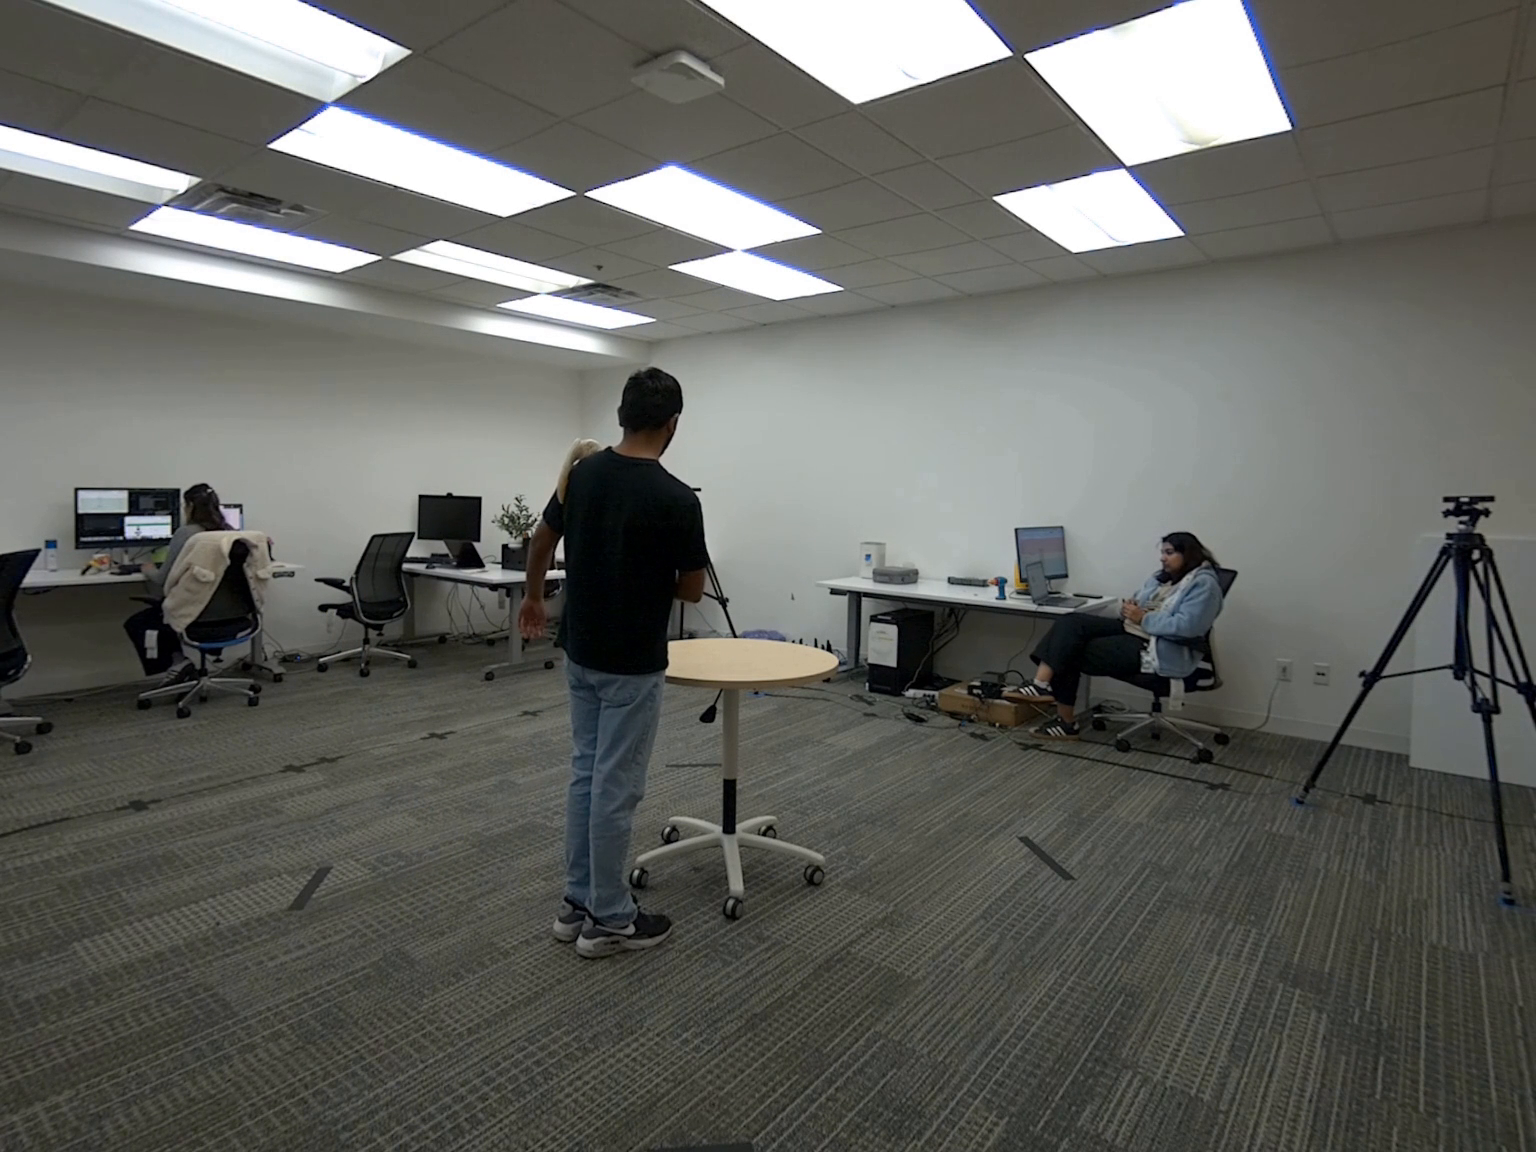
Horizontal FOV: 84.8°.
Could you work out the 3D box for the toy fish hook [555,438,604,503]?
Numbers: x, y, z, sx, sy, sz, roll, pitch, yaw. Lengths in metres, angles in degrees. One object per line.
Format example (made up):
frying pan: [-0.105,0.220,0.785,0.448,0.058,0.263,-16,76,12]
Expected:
toy fish hook: [-0.614,-0.171,2.610,0.050,0.504,0.218,13,6,27]
